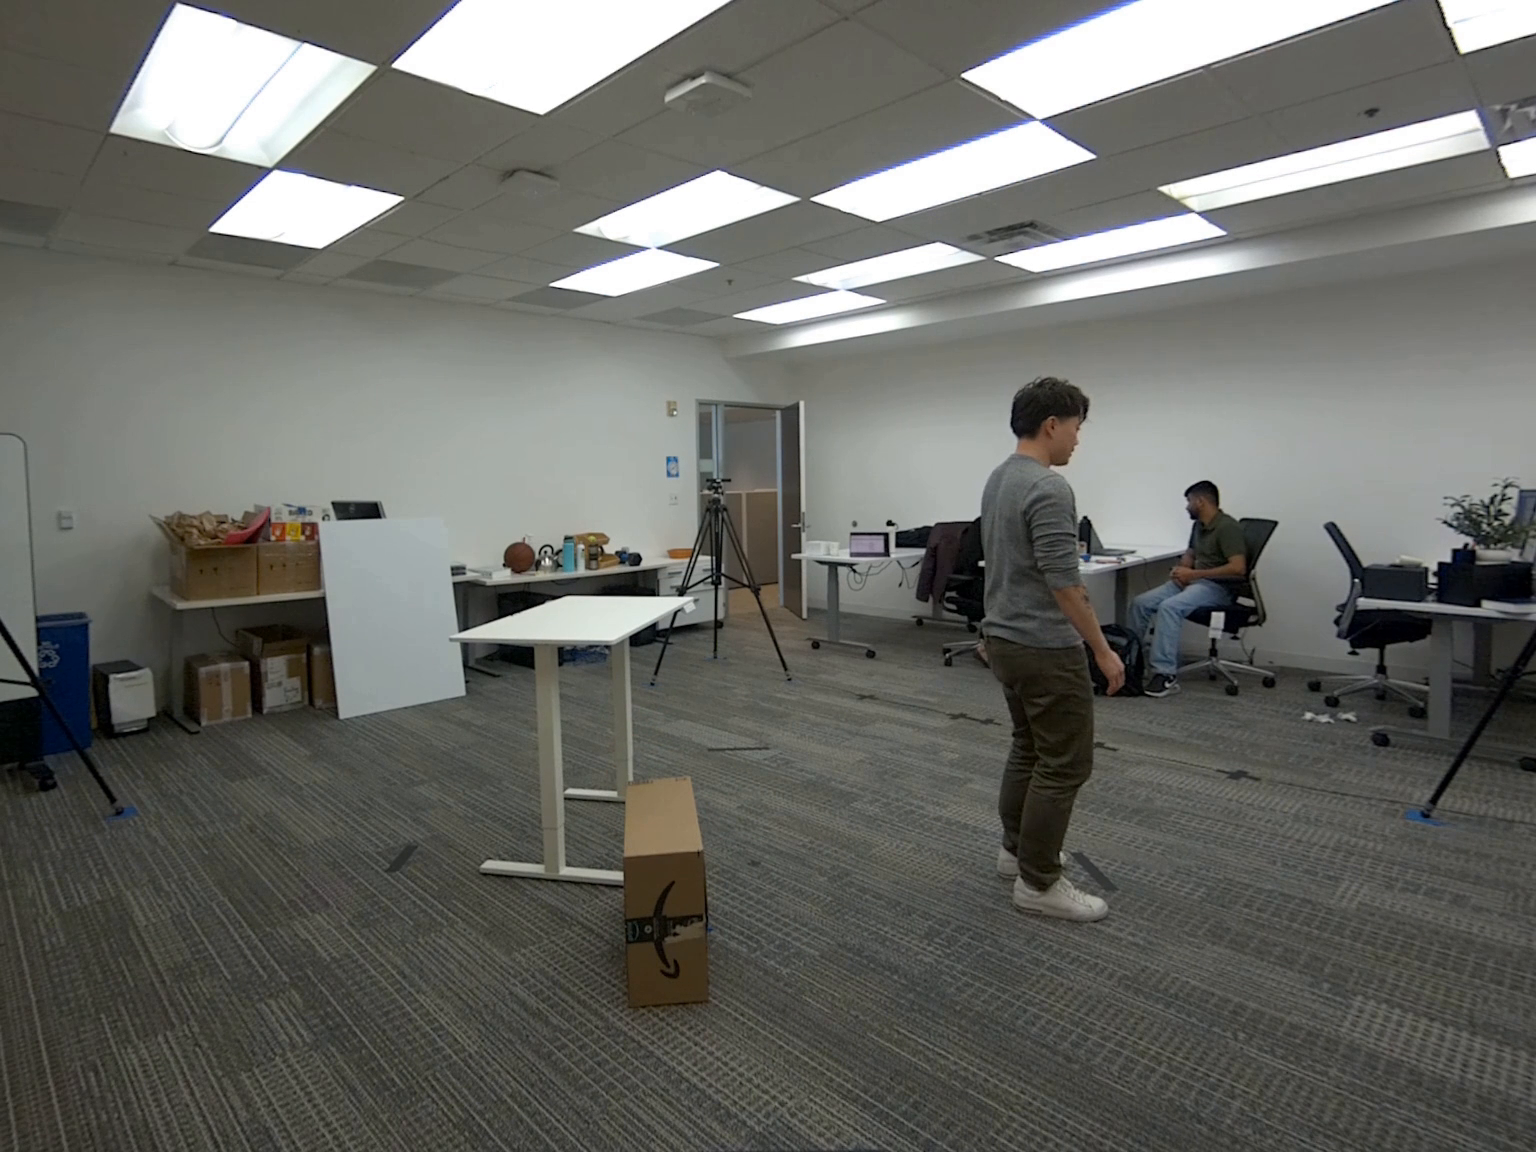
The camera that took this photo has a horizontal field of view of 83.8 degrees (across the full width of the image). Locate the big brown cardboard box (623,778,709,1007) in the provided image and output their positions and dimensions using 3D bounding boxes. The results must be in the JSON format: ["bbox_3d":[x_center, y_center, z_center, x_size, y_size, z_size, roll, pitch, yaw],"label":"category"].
[{"bbox_3d":[-0.306,0.906,2.550,0.232,0.415,0.595,-3,6,-7],"label":"big brown cardboard box"}]
